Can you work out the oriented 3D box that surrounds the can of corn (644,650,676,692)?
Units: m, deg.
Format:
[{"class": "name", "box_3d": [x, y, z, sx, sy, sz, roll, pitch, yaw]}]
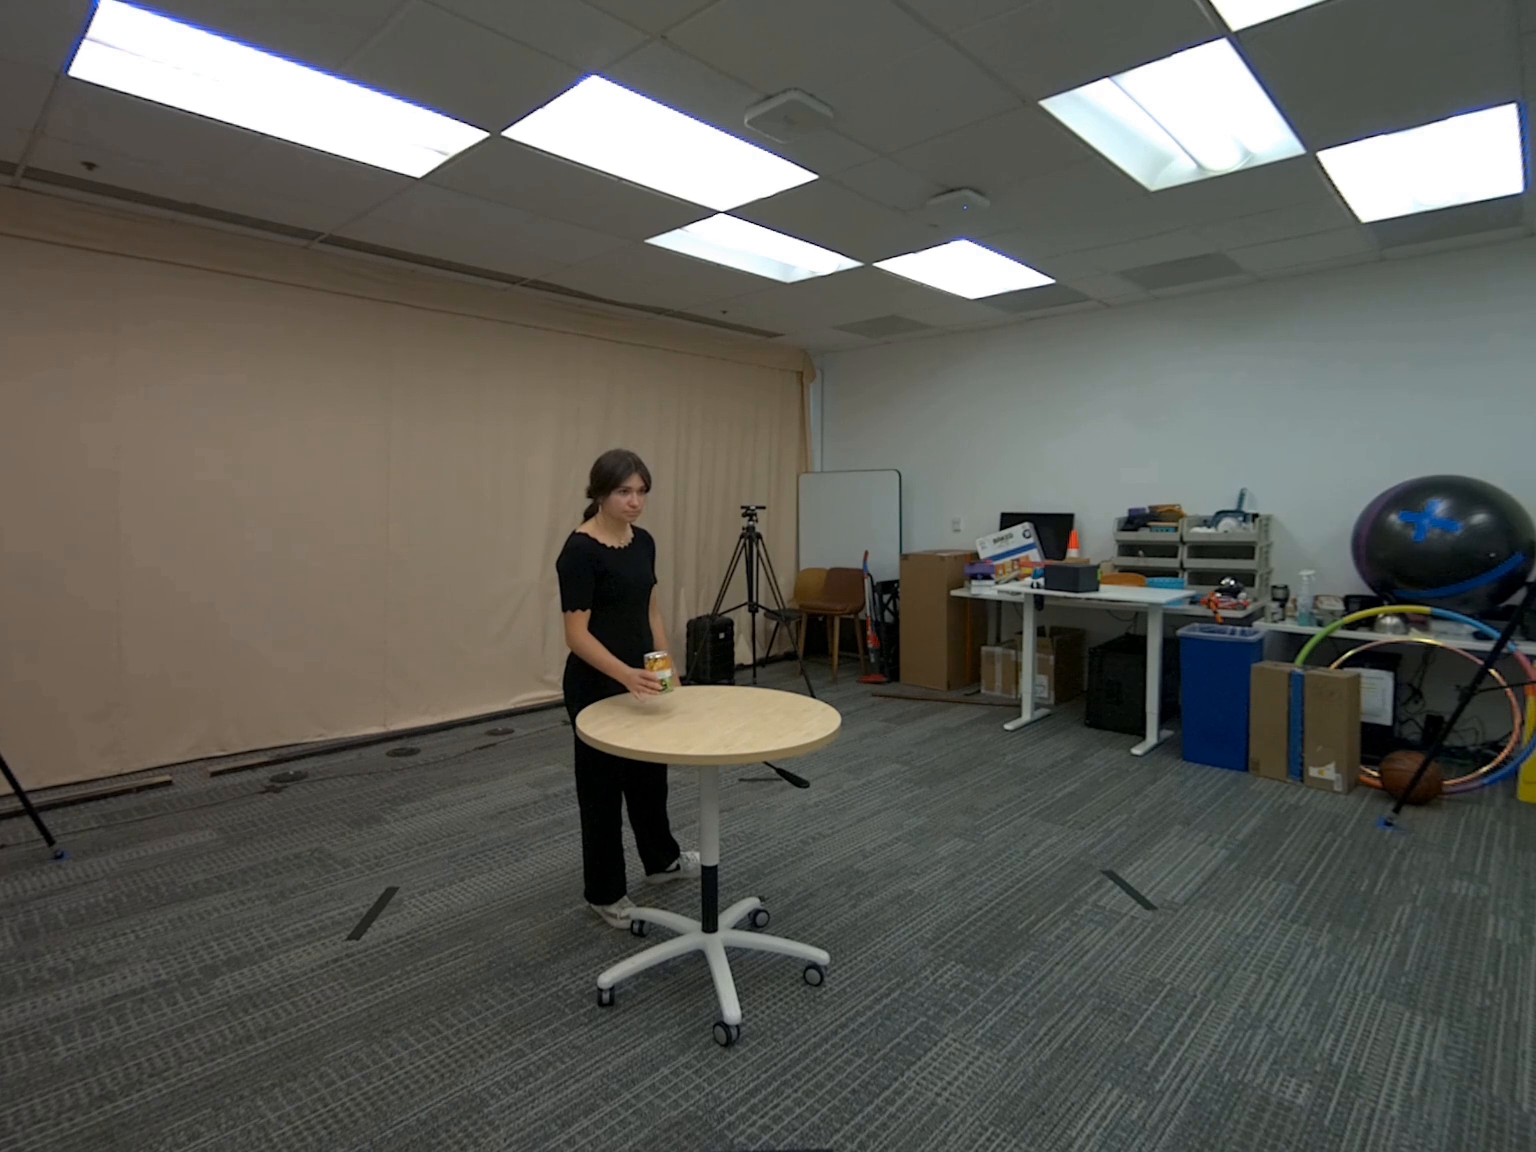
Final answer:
[{"class": "can of corn", "box_3d": [-0.325, 0.286, 2.461, 0.074, 0.111, 0.074, -5, 2, -2]}]
